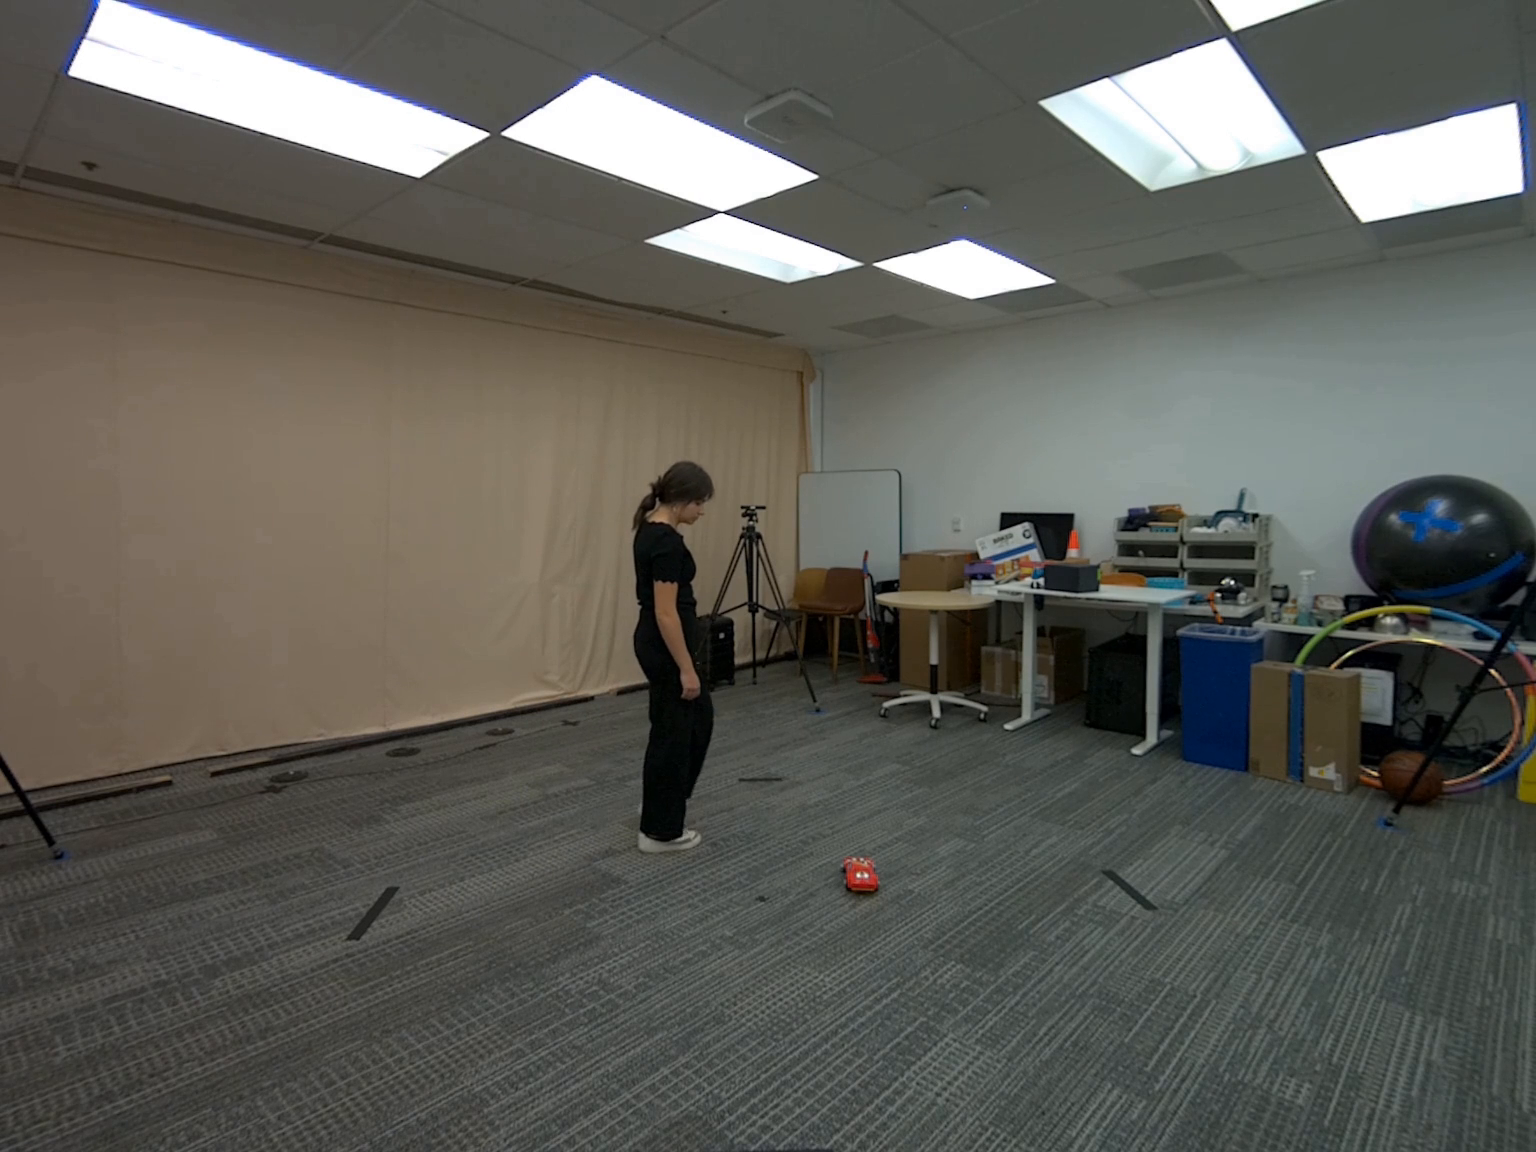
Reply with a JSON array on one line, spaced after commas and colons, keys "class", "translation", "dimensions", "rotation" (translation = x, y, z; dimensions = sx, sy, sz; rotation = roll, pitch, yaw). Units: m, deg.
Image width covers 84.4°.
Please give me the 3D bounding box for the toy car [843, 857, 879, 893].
[{"class": "toy car", "translation": [0.345, 1.102, 3.096], "dimensions": [0.131, 0.083, 0.252], "rotation": [0, -7, 1]}]
